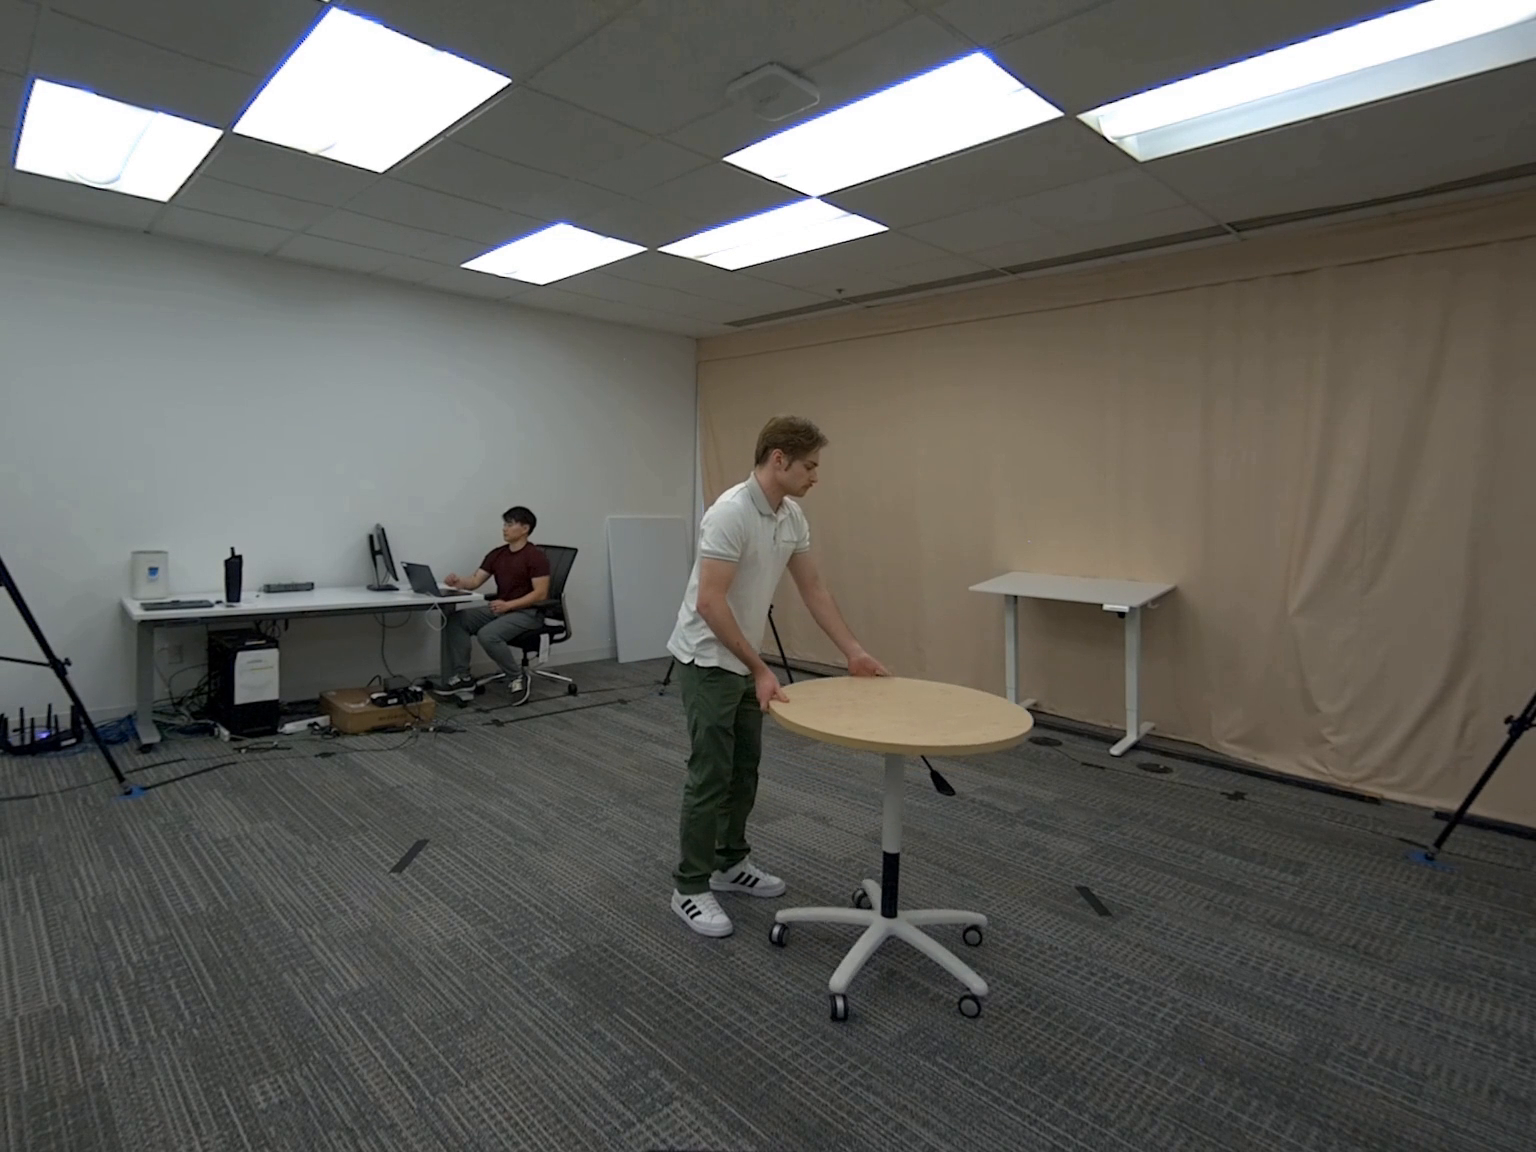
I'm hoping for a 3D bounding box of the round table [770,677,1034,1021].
[{"bbox_3d":[0.372,0.784,2.523,0.763,0.791,0.767,2,5,-1],"label":"round table"}]
